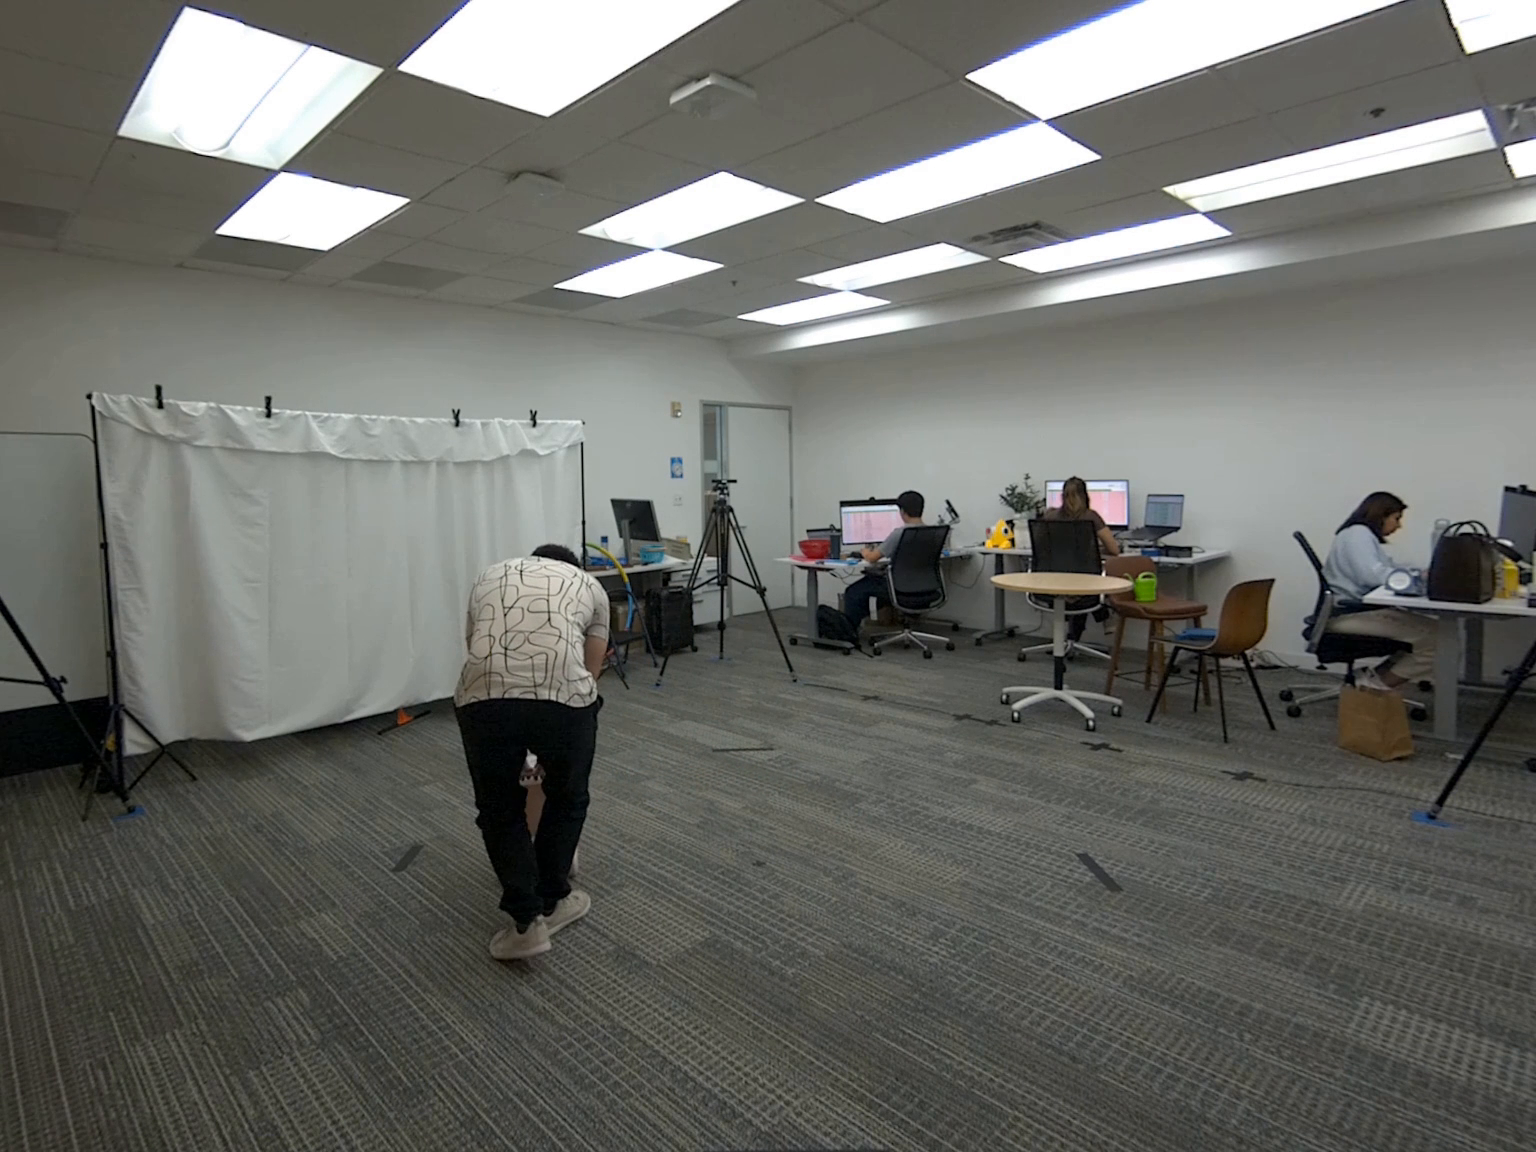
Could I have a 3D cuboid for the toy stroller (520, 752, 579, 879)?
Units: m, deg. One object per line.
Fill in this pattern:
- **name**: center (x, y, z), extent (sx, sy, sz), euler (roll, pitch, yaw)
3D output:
- **toy stroller**: center (-0.826, 0.841, 3.084), extent (0.280, 0.526, 0.349), euler (-2, 20, -7)
